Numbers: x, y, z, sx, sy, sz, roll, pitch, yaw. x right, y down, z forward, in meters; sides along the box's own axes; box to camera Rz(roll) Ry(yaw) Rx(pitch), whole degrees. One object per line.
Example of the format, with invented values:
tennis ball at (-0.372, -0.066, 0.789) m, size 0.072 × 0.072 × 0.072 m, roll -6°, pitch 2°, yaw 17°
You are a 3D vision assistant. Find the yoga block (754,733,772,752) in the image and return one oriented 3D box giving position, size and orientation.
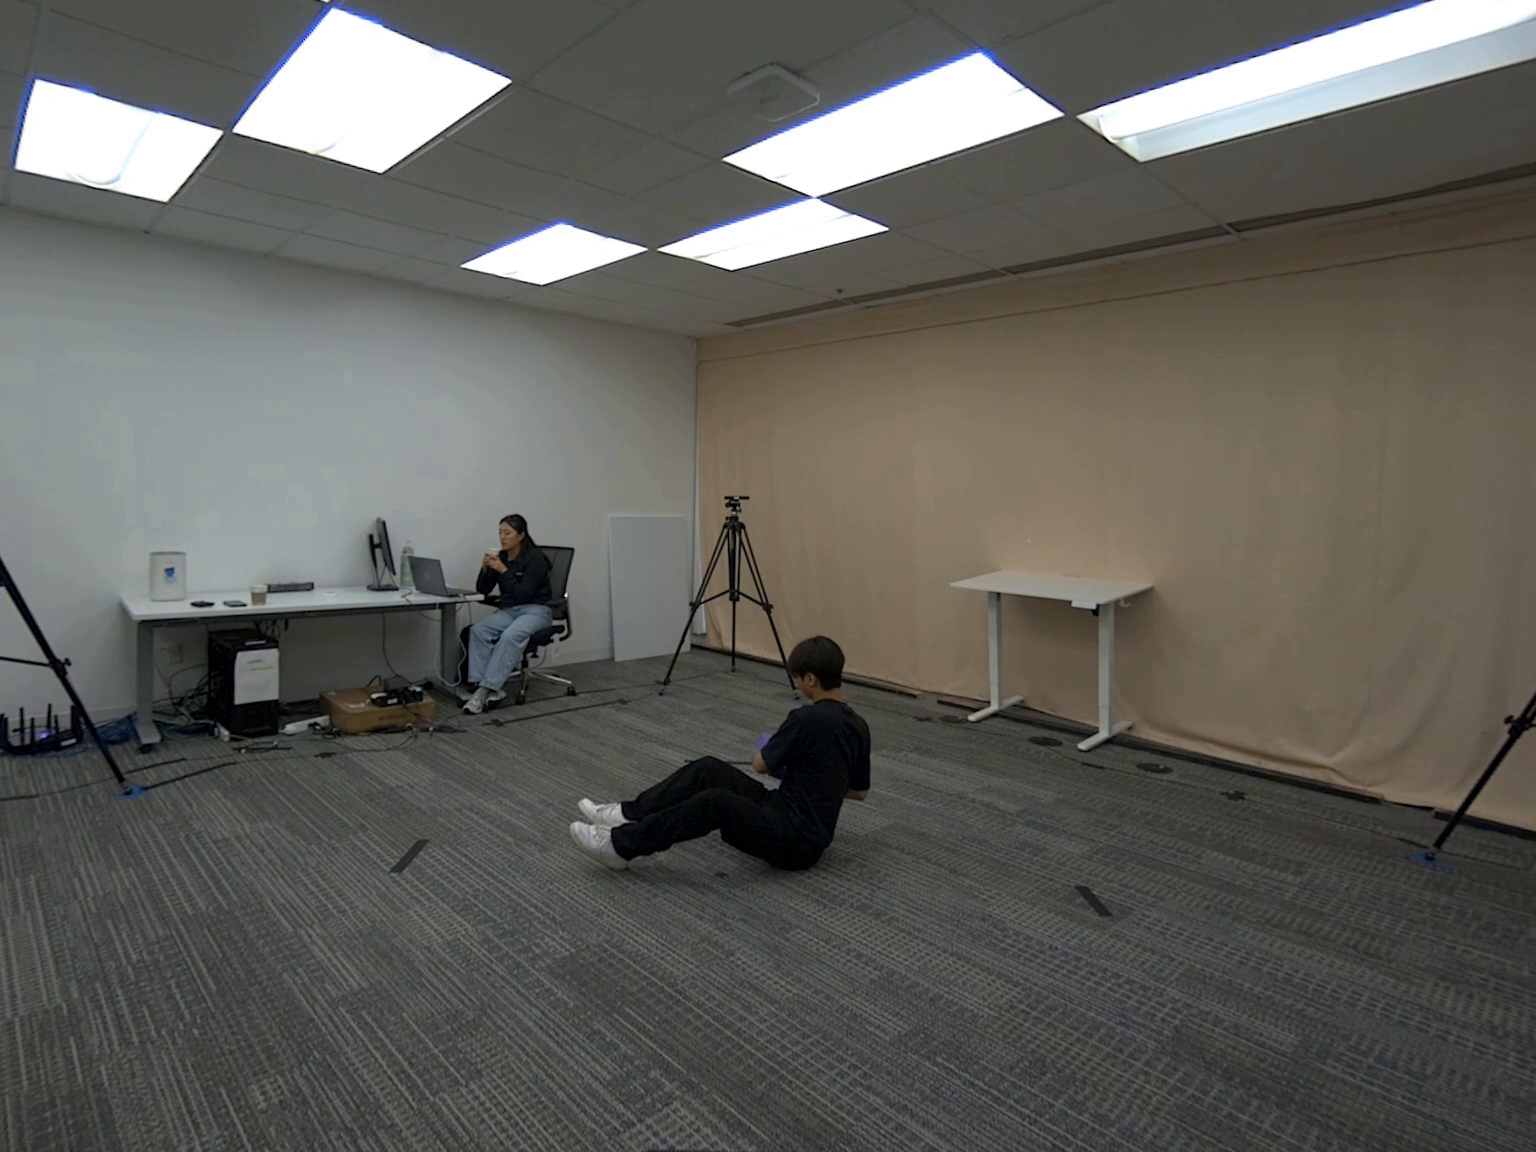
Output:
yoga block at (0.048, 0.793, 3.677) m, size 0.146 × 0.076 × 0.234 m, roll 24°, pitch 14°, yaw -18°
